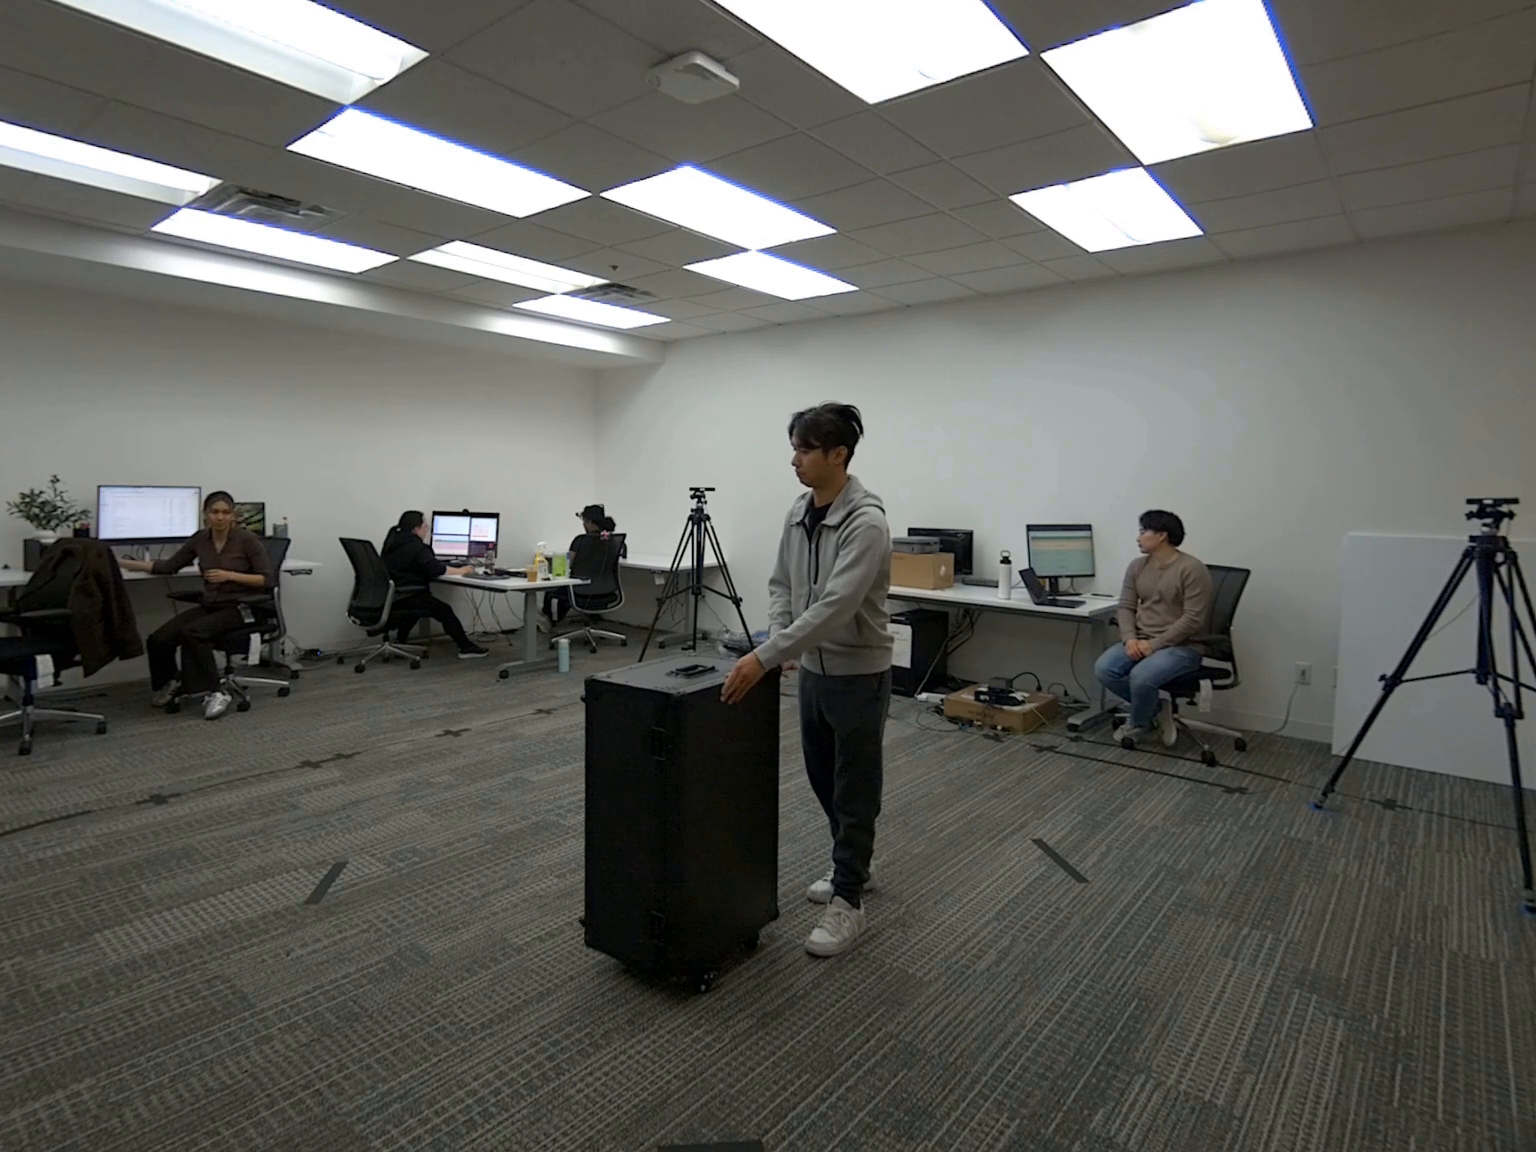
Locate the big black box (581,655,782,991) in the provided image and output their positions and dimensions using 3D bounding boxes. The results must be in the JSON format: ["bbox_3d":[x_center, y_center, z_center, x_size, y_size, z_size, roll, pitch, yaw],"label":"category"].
[{"bbox_3d":[-0.272,0.704,2.507,0.408,0.860,0.506,1,3,34],"label":"big black box"}]
